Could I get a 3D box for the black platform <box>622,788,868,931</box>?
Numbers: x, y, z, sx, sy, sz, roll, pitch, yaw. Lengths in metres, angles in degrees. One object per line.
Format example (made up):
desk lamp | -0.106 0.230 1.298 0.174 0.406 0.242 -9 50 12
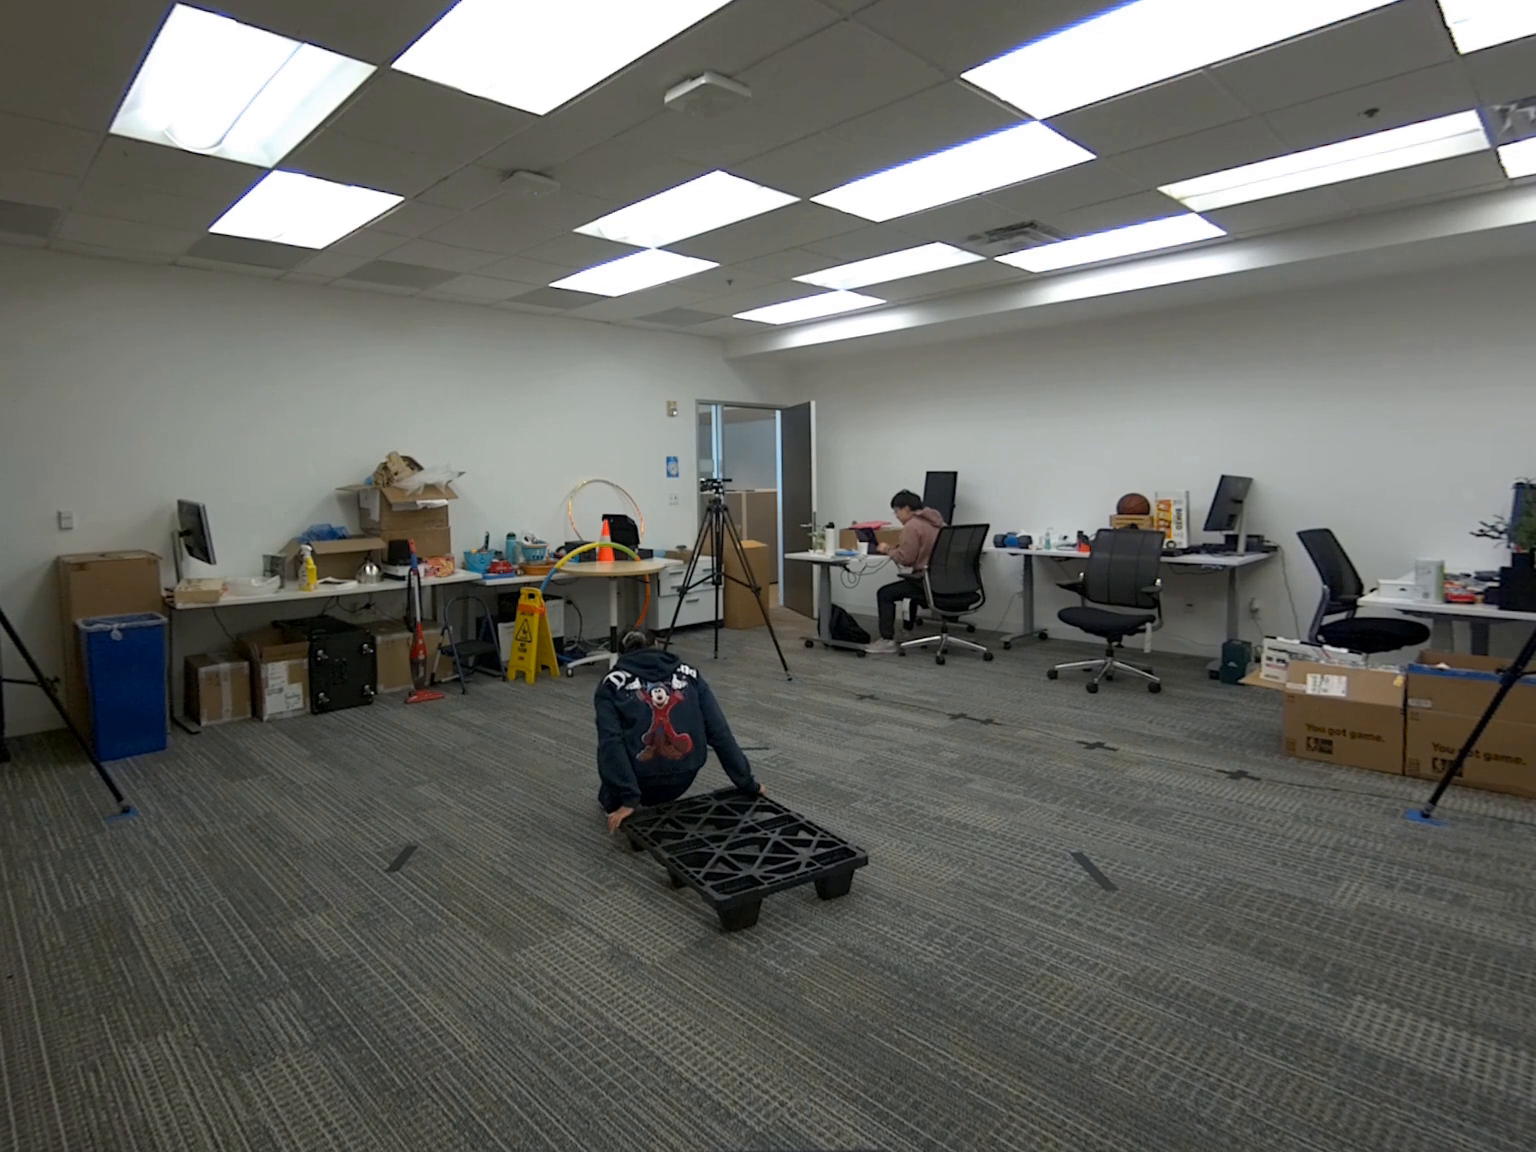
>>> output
black platform | -0.117 0.982 3.049 0.591 0.142 0.829 -5 8 -32
